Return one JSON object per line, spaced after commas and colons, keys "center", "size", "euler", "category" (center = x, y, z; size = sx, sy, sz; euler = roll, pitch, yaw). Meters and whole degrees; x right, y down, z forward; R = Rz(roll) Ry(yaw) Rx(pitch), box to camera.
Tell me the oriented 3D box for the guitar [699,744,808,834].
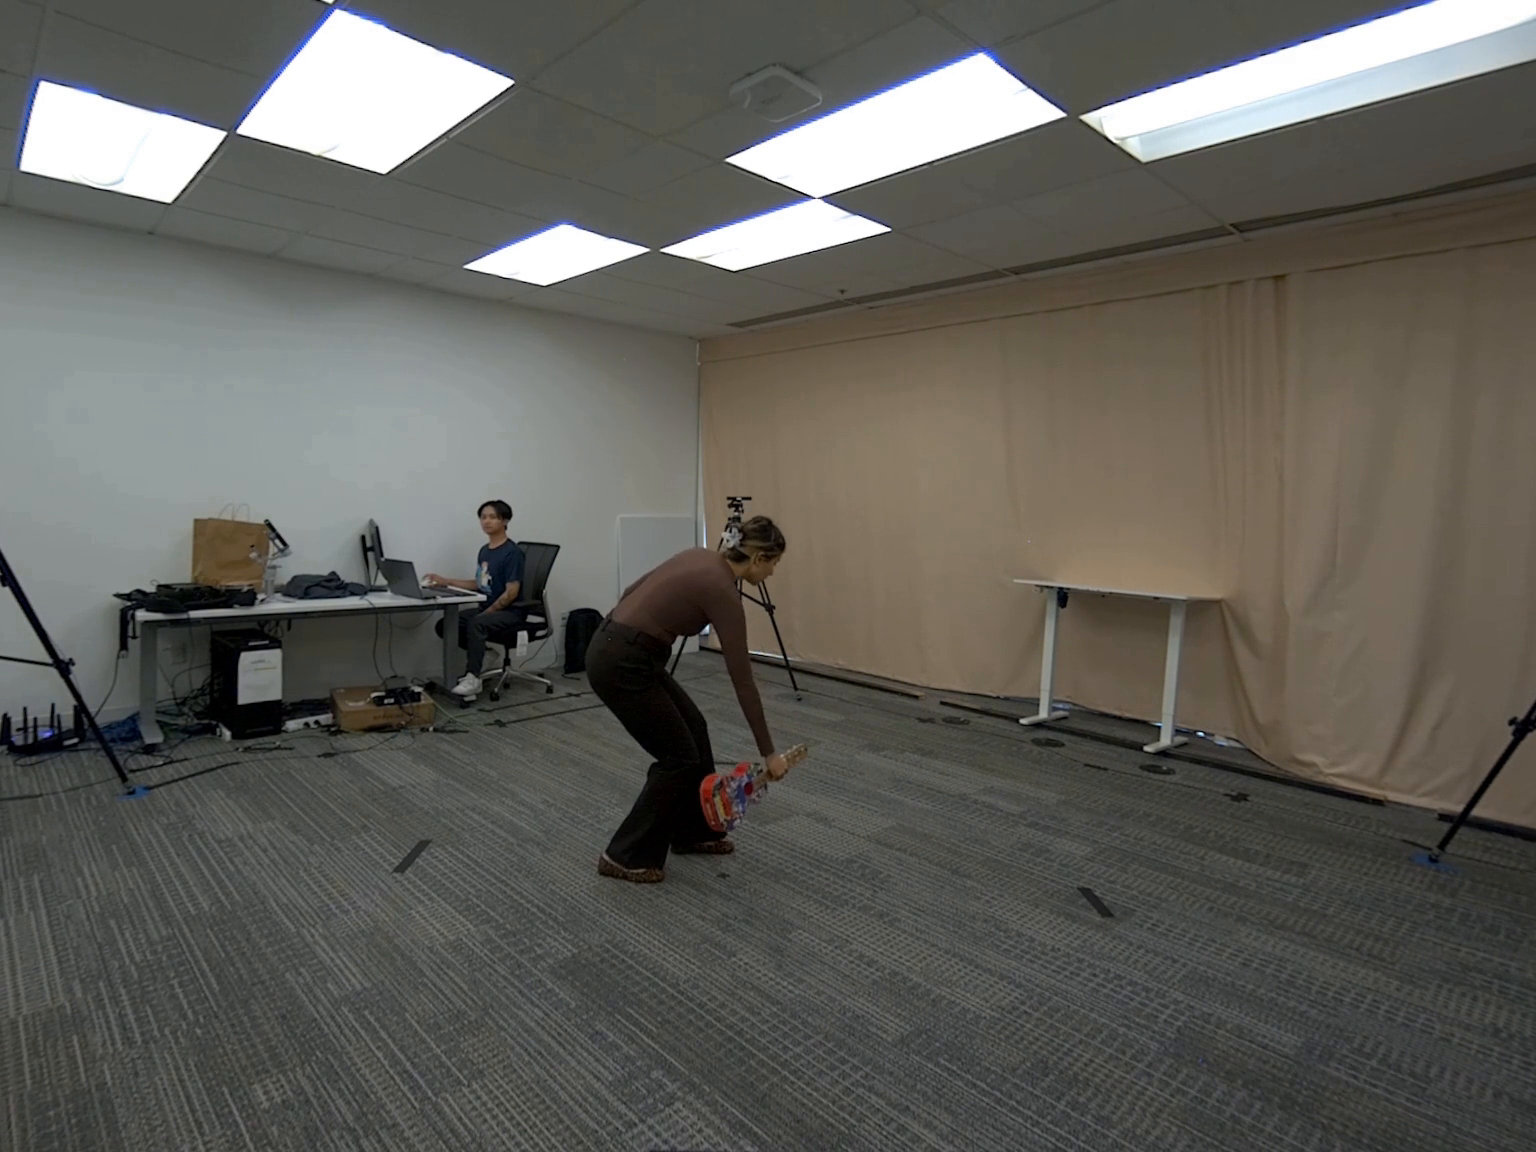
{"center": [-0.041, 0.756, 3.027], "size": [0.488, 0.193, 0.072], "euler": [-11, 0, -44], "category": "guitar"}
